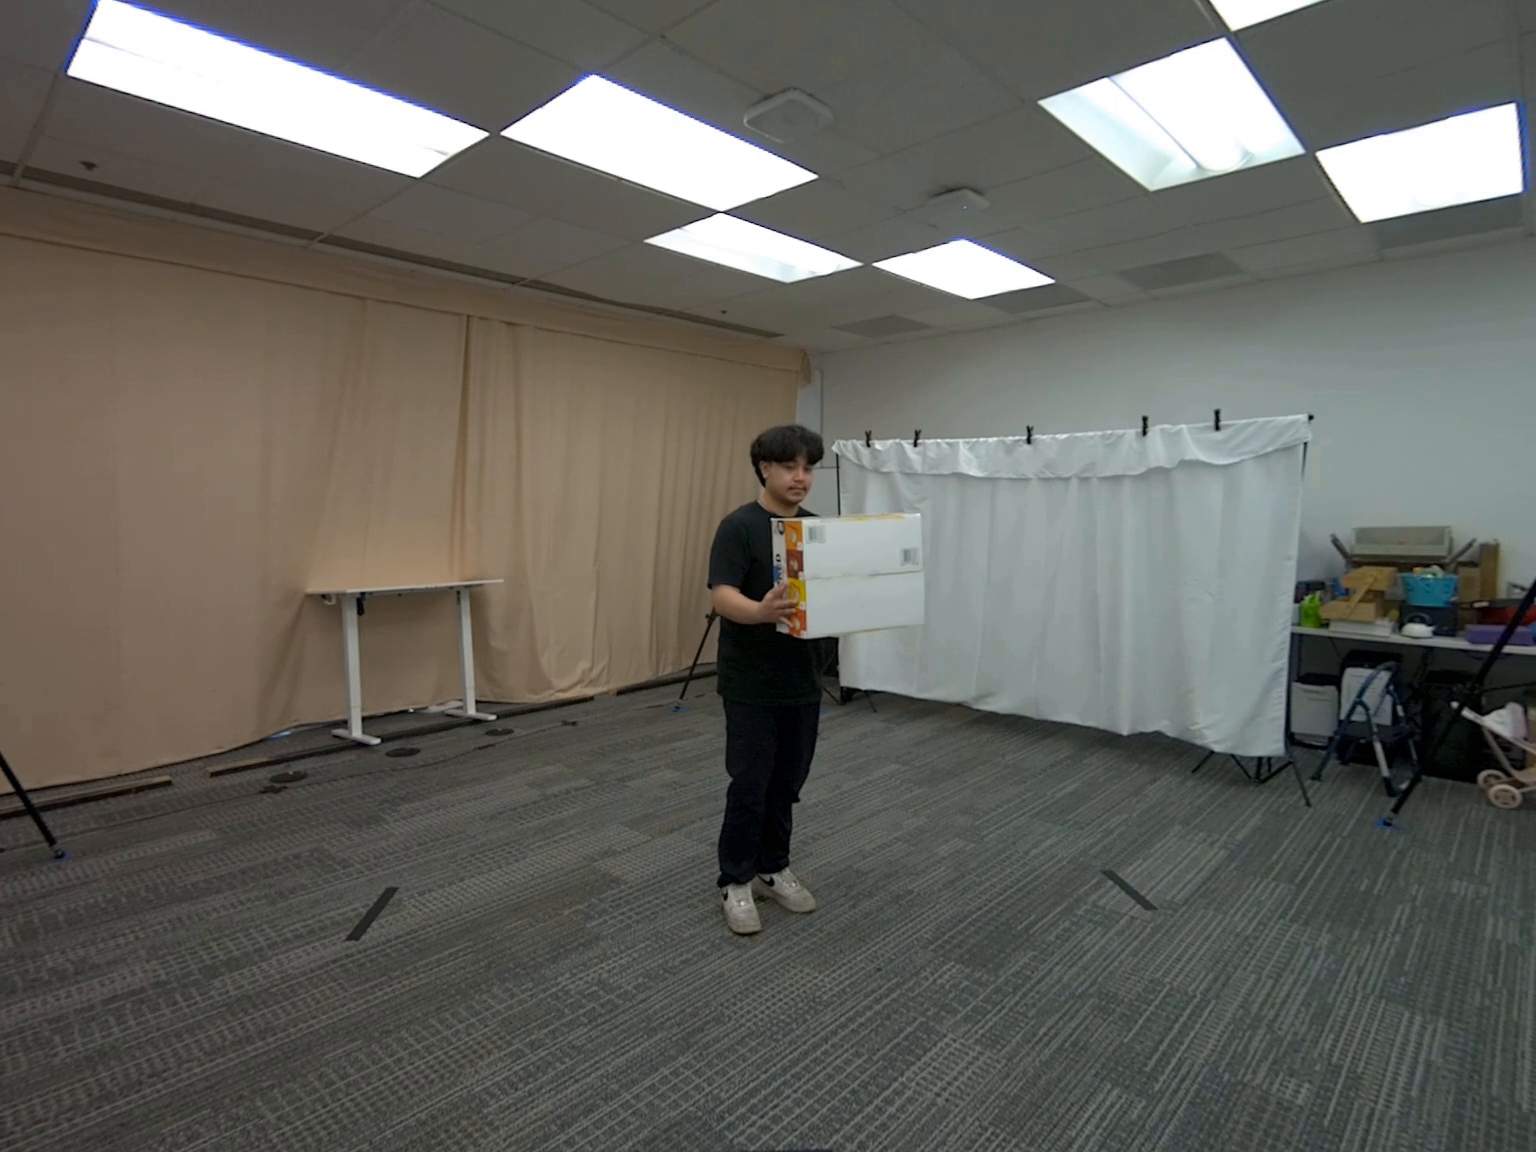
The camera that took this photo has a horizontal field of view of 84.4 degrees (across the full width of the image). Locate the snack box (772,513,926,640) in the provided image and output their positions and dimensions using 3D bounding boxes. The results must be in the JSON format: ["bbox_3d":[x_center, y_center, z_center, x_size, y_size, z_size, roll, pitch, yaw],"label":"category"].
[{"bbox_3d":[0.241,-0.009,2.526,0.397,0.339,0.211,-4,5,-22],"label":"snack box"}]
